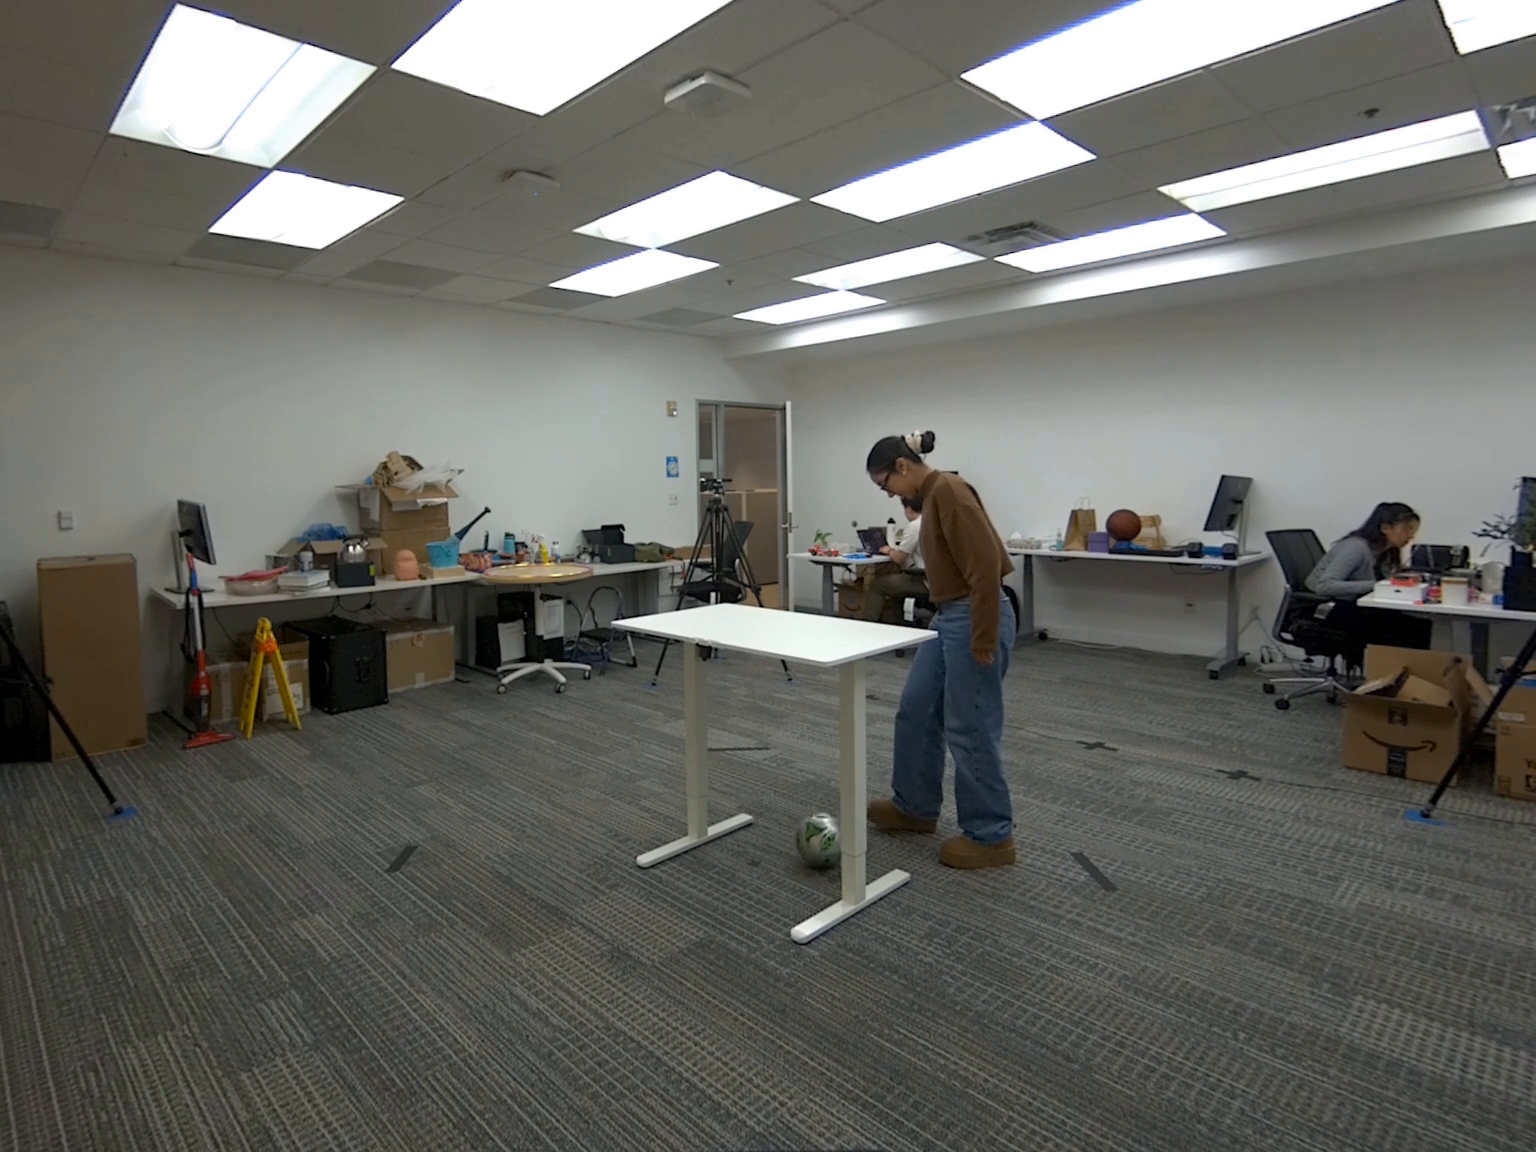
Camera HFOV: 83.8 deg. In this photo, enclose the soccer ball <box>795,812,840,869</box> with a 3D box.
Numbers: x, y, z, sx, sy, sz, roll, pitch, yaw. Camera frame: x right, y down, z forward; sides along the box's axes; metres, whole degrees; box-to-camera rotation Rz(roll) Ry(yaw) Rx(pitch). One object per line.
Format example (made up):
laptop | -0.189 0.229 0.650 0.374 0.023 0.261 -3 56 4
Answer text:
soccer ball | 0.200 0.951 3.075 0.187 0.187 0.188 -1 5 -2
